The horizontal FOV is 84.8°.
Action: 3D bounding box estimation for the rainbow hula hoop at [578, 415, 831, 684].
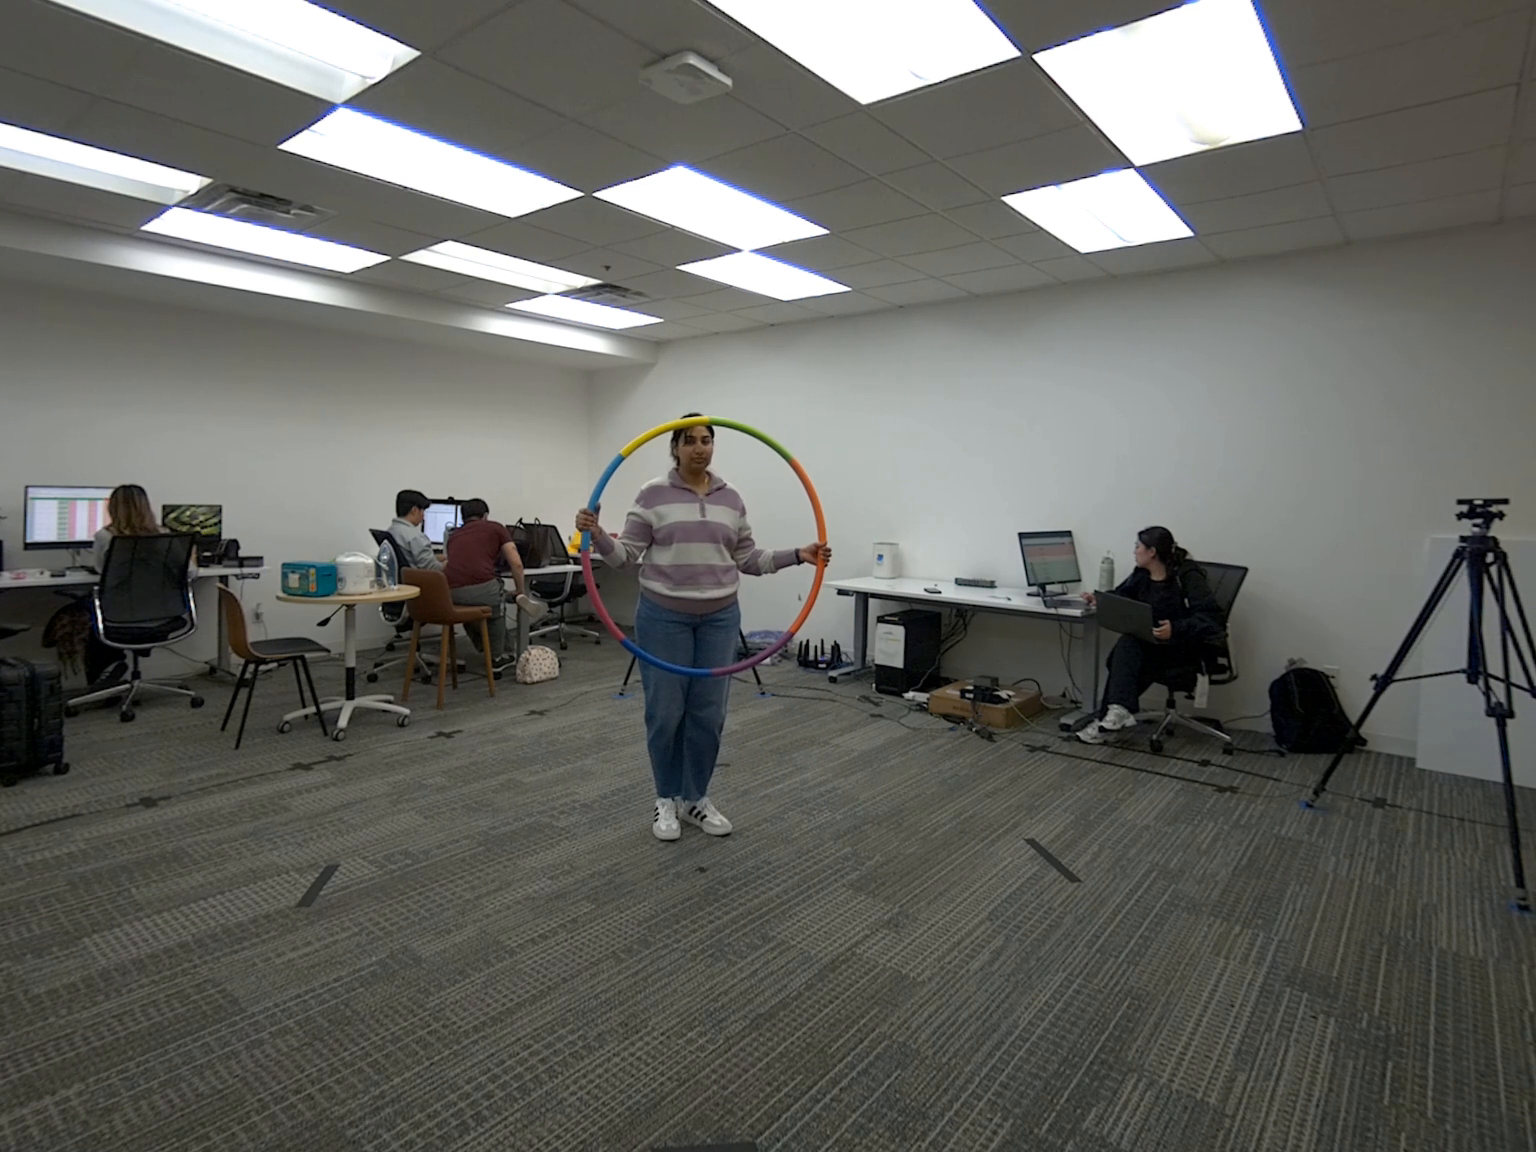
[{"bbox_3d":[-0.232,-0.115,3.245,0.962,0.979,0.036,0,-1,-16],"label":"rainbow hula hoop"}]
